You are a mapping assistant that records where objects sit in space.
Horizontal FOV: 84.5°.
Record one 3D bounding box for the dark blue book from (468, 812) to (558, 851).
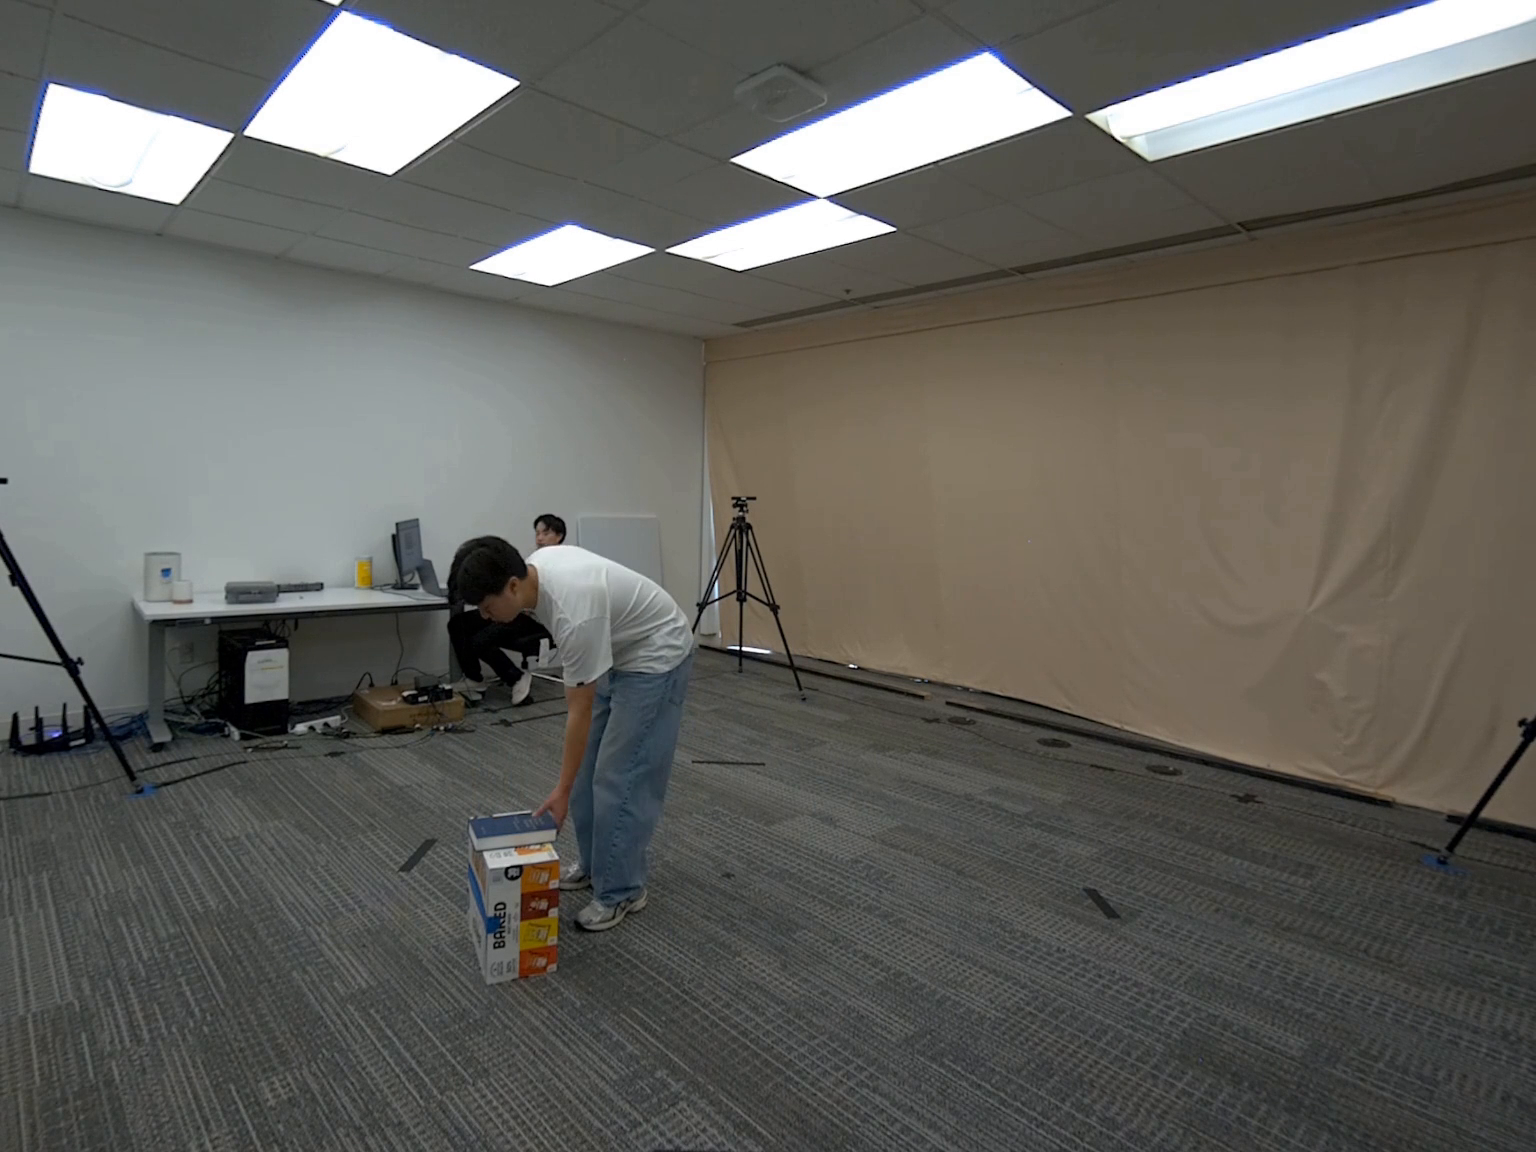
[{"bbox_3d":[-0.792,0.783,2.572,0.240,0.045,0.167,0,4,-26],"label":"dark blue book"}]
